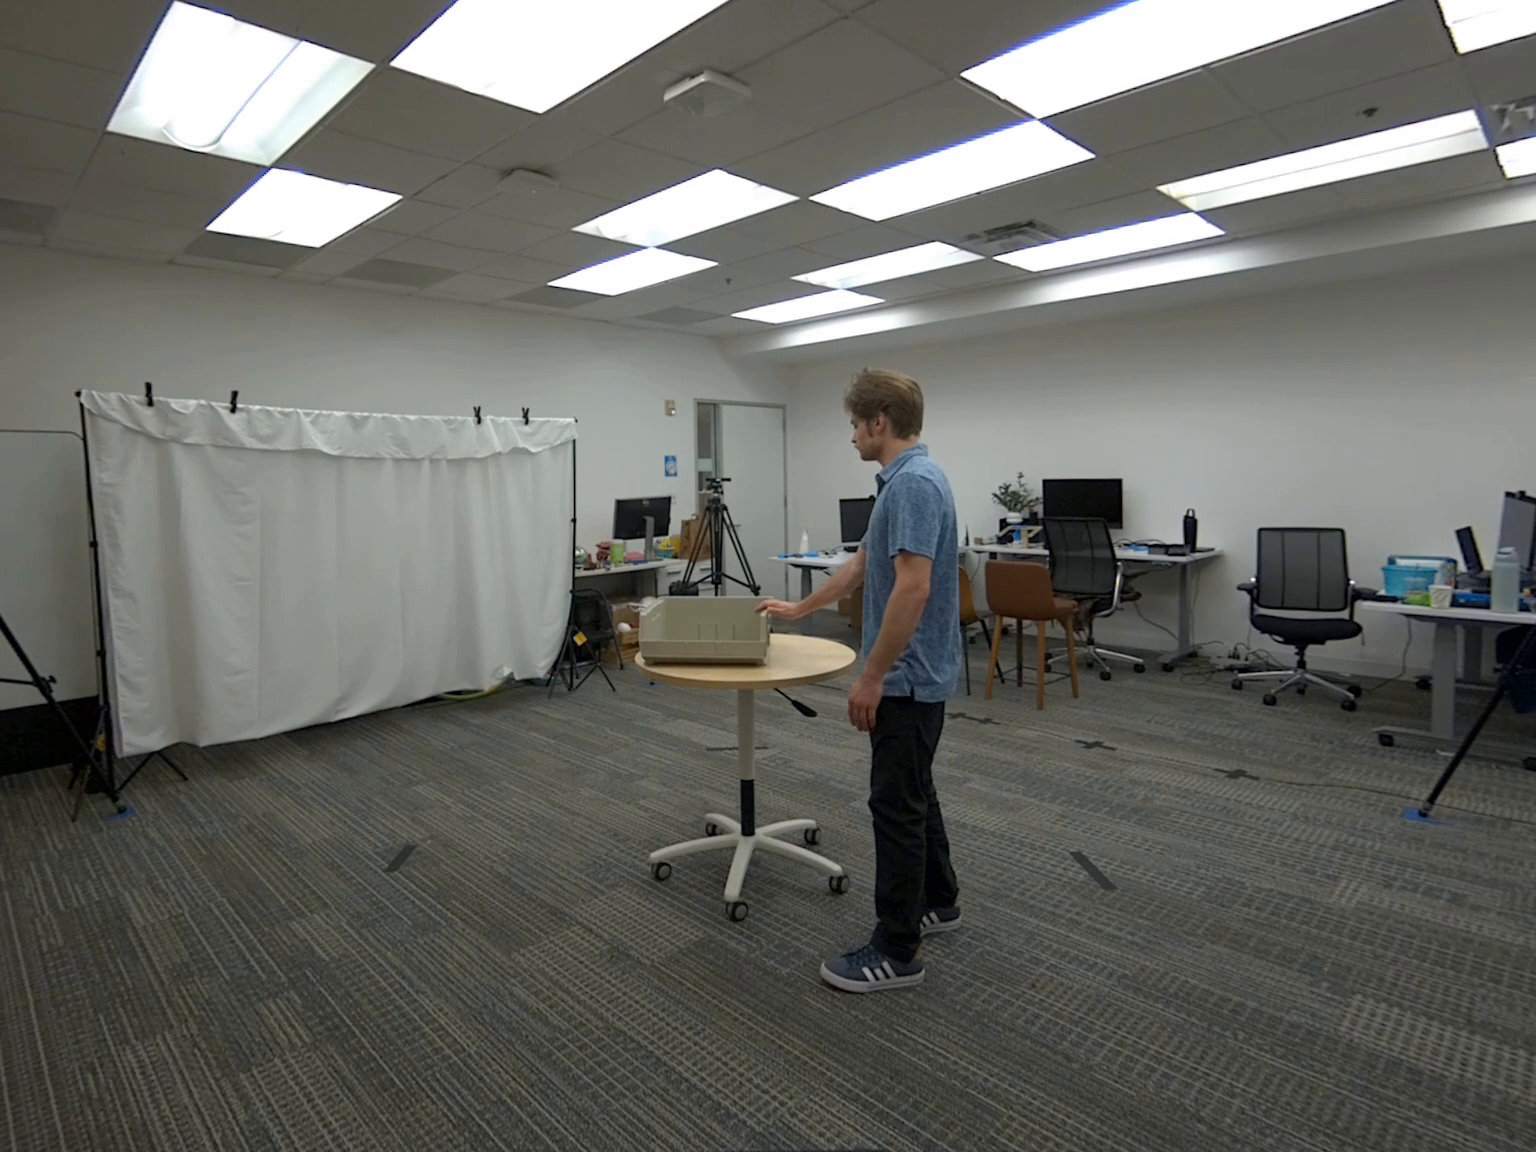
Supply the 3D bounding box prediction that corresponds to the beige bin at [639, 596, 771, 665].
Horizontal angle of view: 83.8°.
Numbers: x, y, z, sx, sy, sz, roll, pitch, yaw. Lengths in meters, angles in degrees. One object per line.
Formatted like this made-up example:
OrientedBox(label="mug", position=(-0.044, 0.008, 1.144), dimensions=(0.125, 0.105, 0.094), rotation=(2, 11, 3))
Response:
OrientedBox(label="beige bin", position=(-0.198, 0.189, 2.952), dimensions=(0.425, 0.188, 0.377), rotation=(0, 7, 5))
